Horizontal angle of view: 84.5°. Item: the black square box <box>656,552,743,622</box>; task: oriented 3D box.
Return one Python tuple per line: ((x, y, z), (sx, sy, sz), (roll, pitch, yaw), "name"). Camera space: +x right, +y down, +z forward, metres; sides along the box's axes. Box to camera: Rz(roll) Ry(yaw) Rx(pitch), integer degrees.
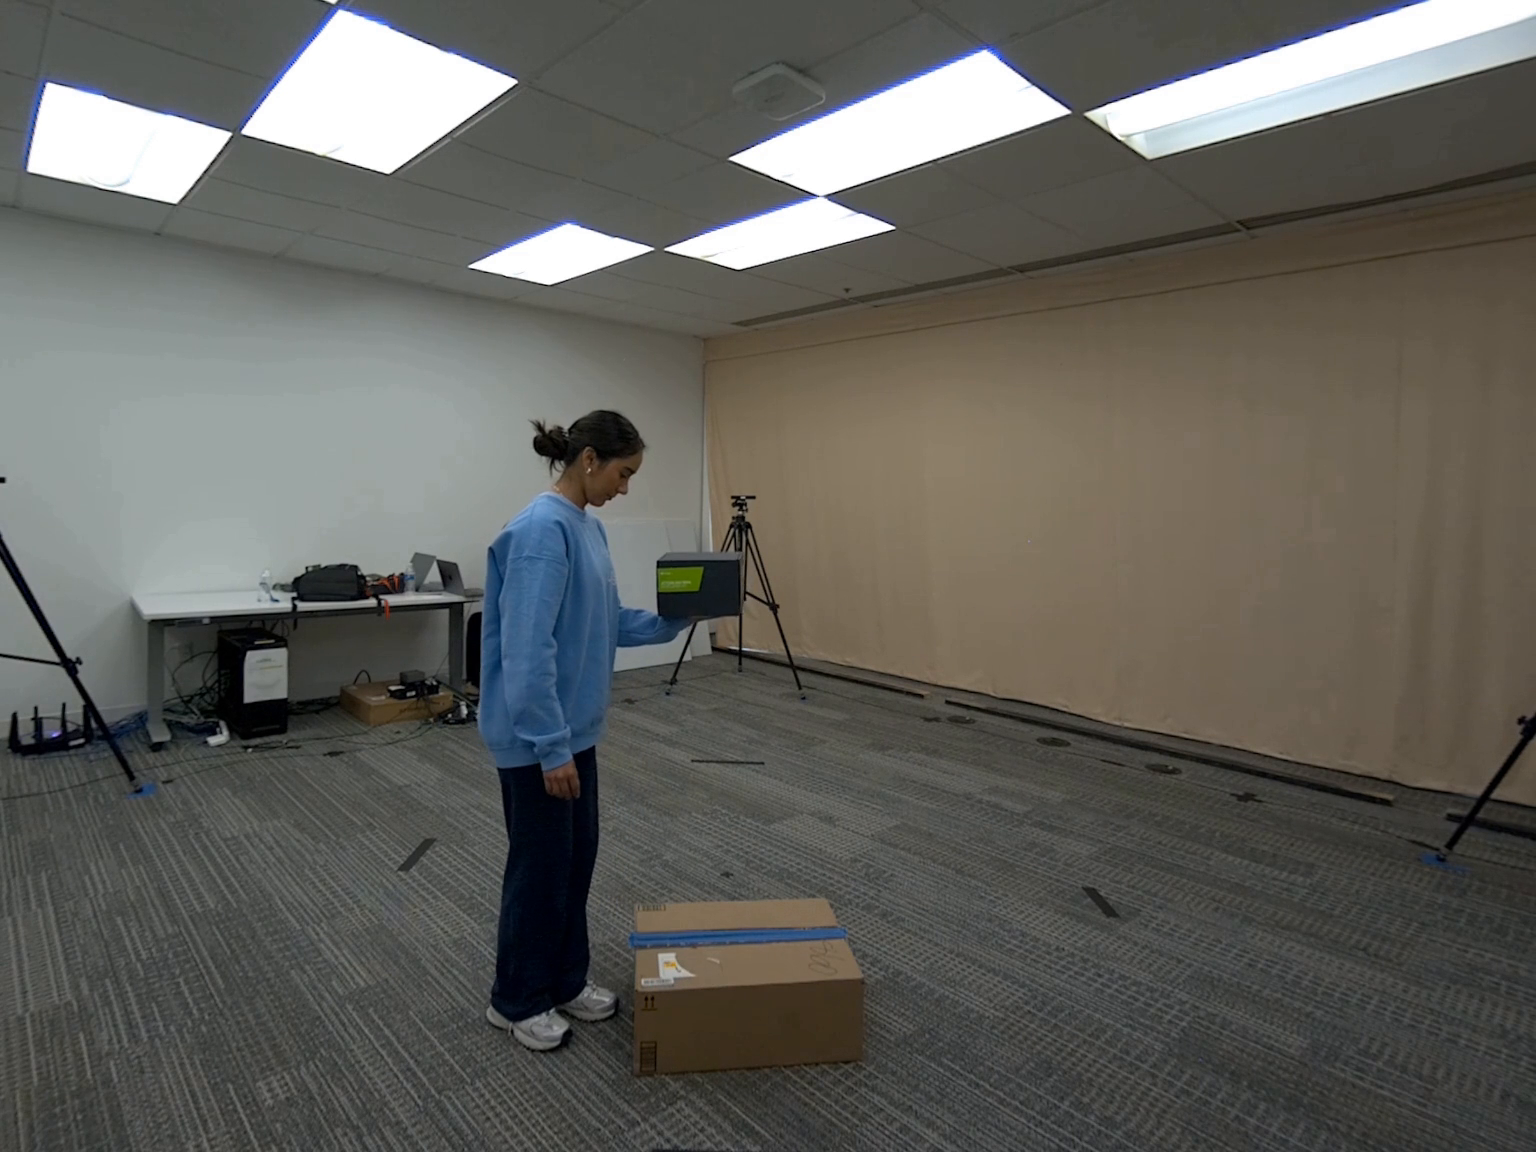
((-0.199, 0.016, 2.373), (0.228, 0.155, 0.218), (-1, 9, 1), "black square box")
